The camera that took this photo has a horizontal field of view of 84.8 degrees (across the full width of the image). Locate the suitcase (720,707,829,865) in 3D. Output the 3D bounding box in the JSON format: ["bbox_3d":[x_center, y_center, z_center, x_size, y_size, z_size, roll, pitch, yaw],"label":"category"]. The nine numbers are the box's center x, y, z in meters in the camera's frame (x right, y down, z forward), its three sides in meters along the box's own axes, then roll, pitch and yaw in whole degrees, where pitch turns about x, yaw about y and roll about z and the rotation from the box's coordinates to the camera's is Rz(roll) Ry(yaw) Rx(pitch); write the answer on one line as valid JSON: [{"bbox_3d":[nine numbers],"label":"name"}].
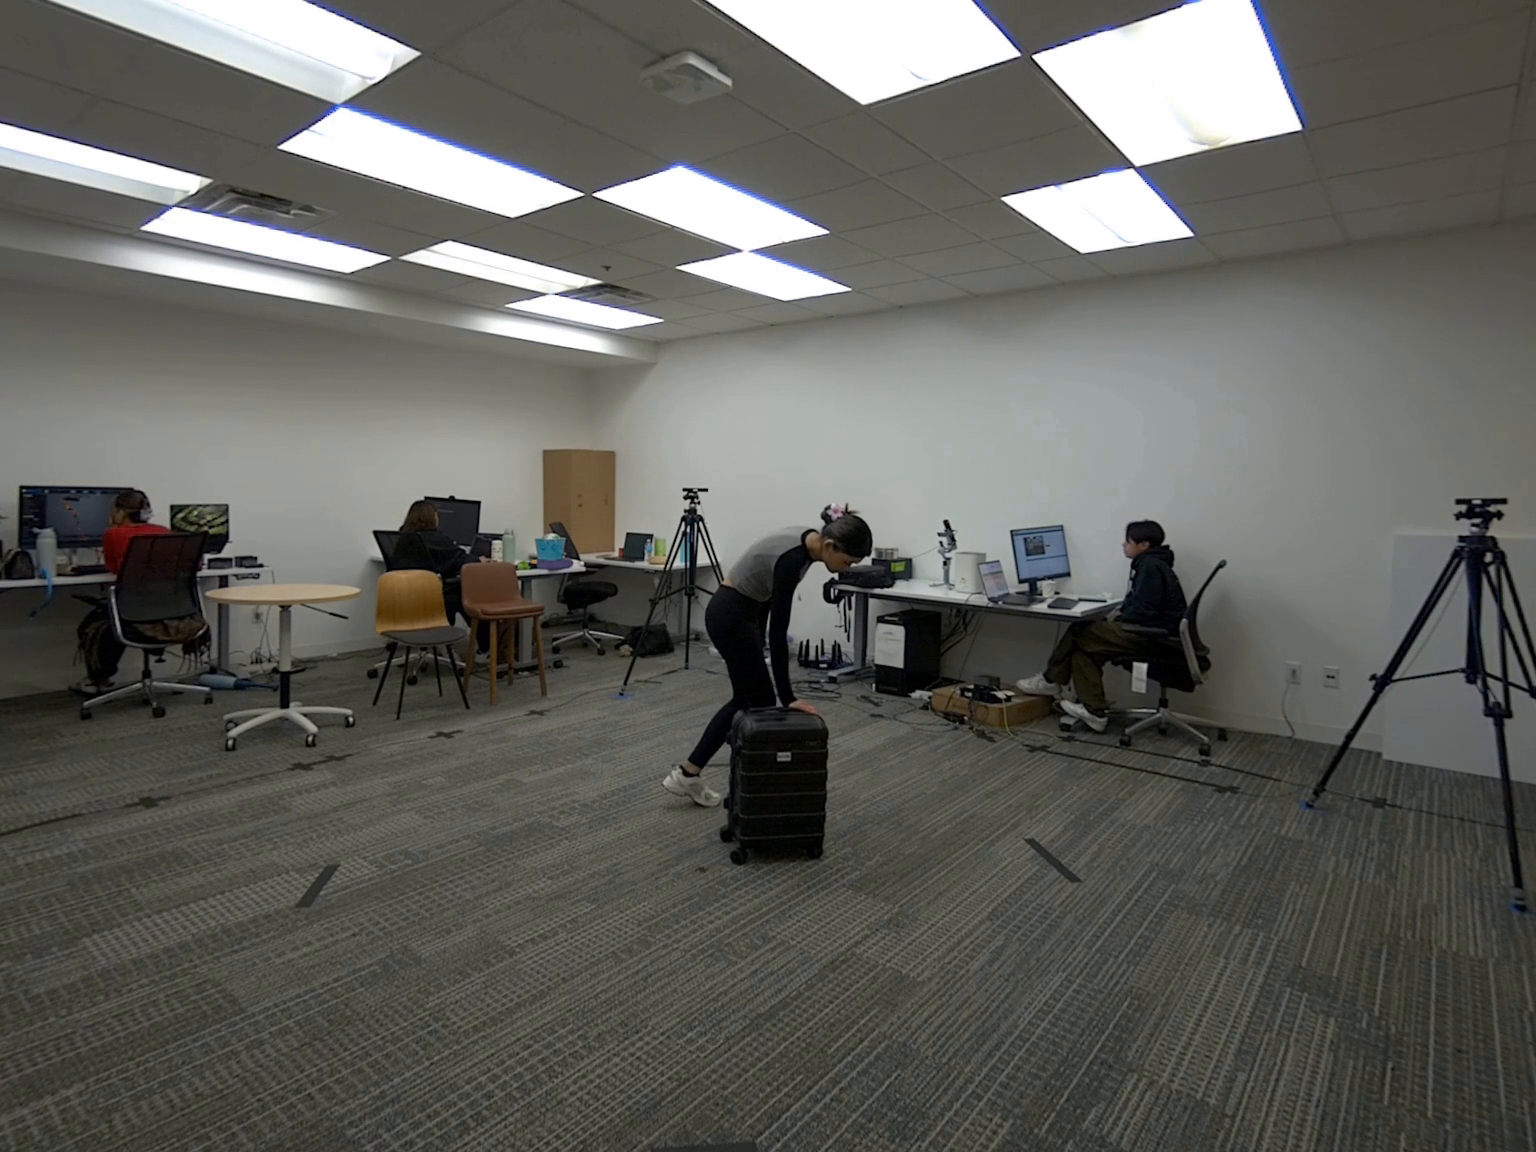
[{"bbox_3d":[0.029,0.782,3.274,0.371,0.547,0.253,2,5,-12],"label":"suitcase"}]
